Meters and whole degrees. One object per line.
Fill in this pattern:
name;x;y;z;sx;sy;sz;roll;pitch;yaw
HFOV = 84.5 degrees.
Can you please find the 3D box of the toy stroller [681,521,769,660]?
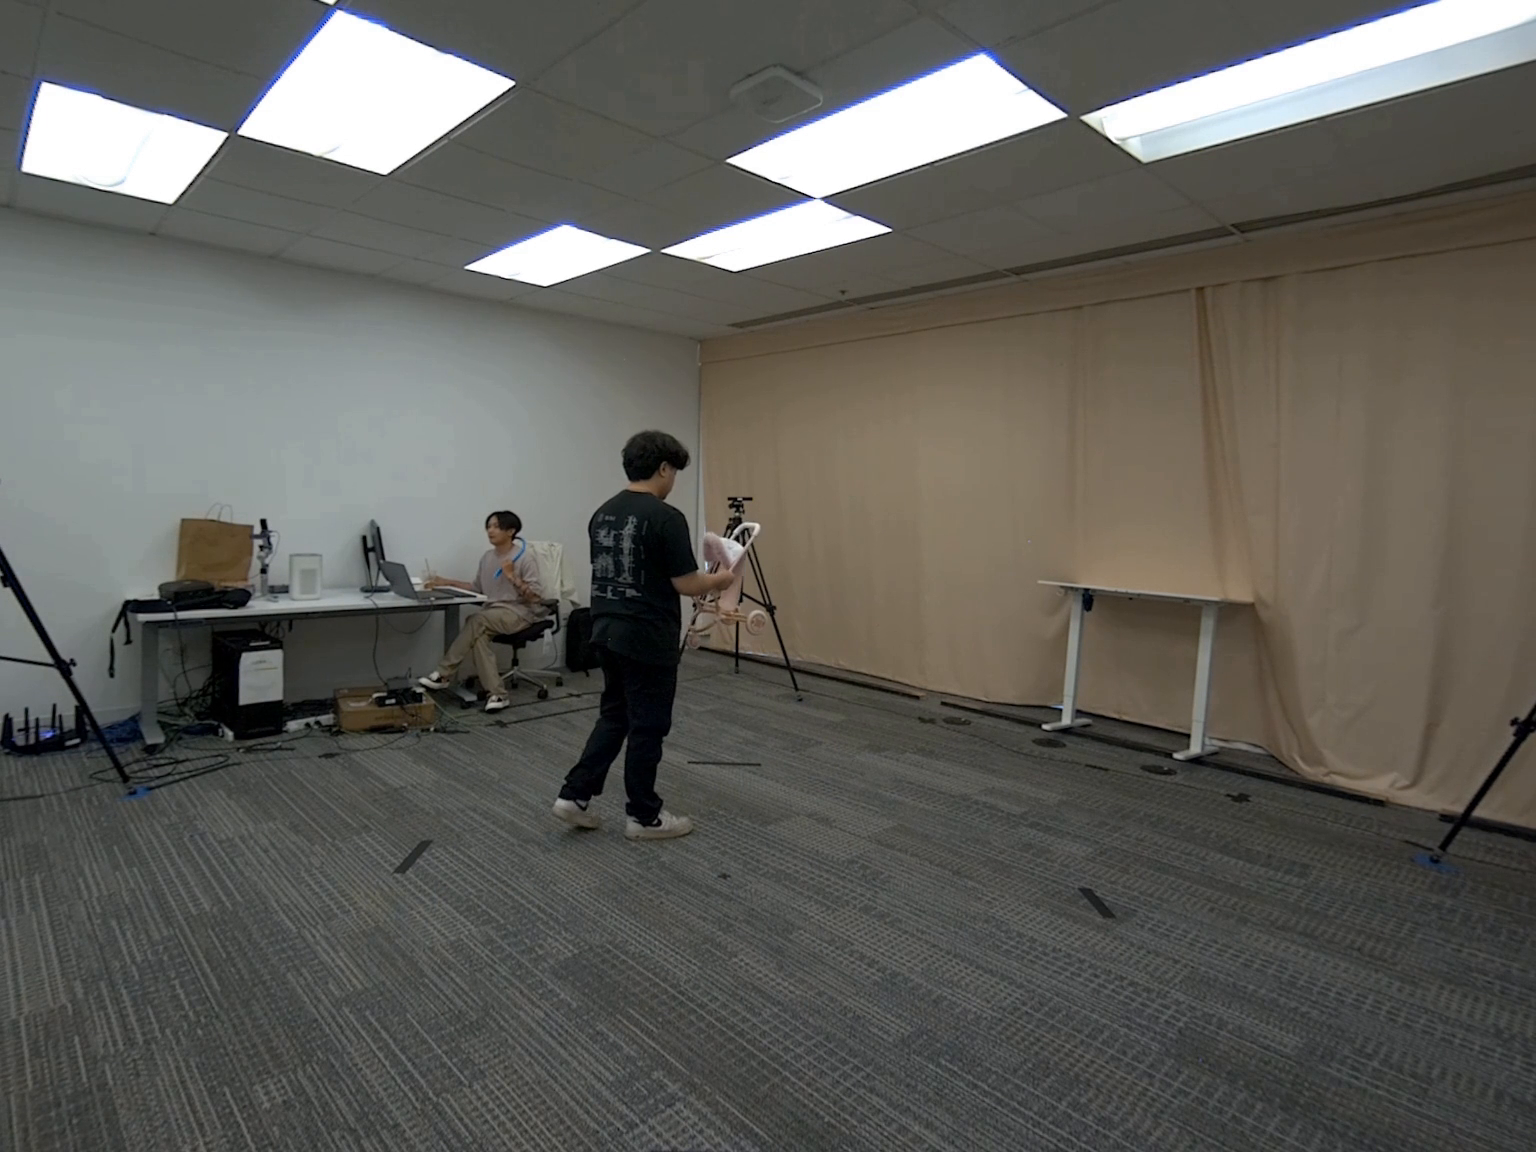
toy stroller;-0.219;0.048;3.696;0.336;0.532;0.287;-4;8;-23
